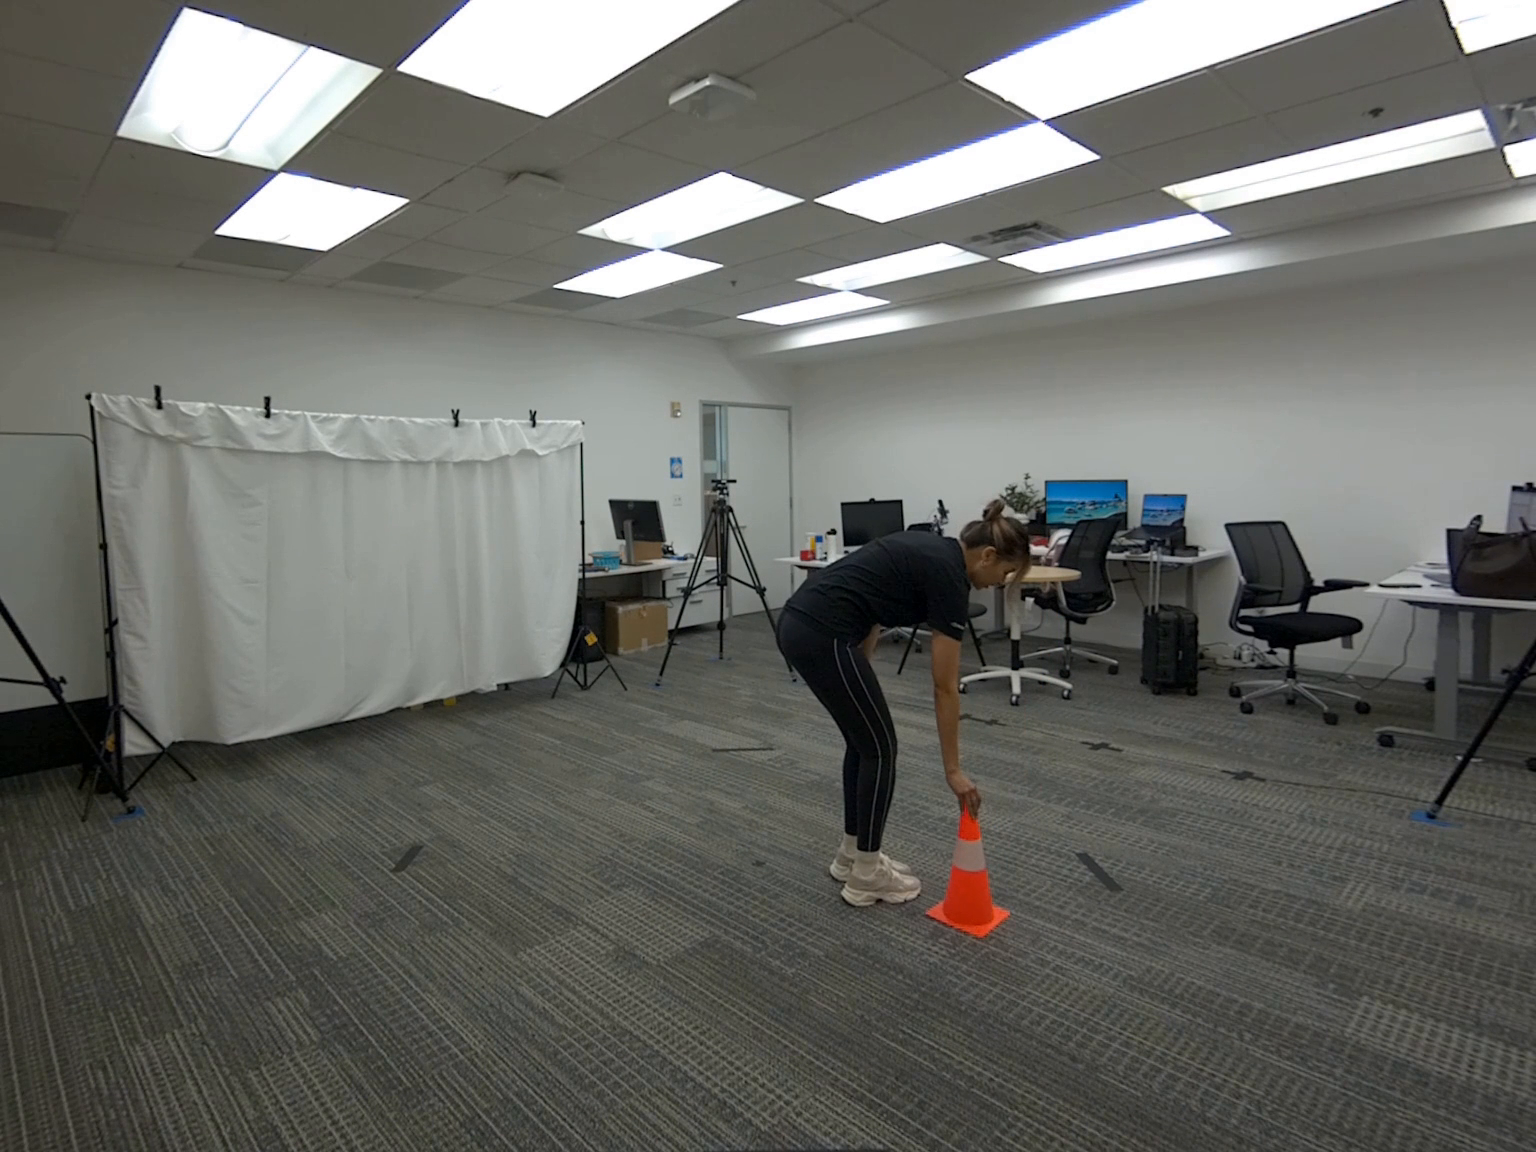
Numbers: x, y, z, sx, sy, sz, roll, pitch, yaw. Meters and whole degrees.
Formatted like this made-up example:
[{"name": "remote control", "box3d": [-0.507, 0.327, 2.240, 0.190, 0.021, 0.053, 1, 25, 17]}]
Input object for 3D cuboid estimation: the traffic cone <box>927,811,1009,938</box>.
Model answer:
[{"name": "traffic cone", "box3d": [0.640, 0.890, 2.704, 0.200, 0.382, 0.209, -6, 6, -41]}]
